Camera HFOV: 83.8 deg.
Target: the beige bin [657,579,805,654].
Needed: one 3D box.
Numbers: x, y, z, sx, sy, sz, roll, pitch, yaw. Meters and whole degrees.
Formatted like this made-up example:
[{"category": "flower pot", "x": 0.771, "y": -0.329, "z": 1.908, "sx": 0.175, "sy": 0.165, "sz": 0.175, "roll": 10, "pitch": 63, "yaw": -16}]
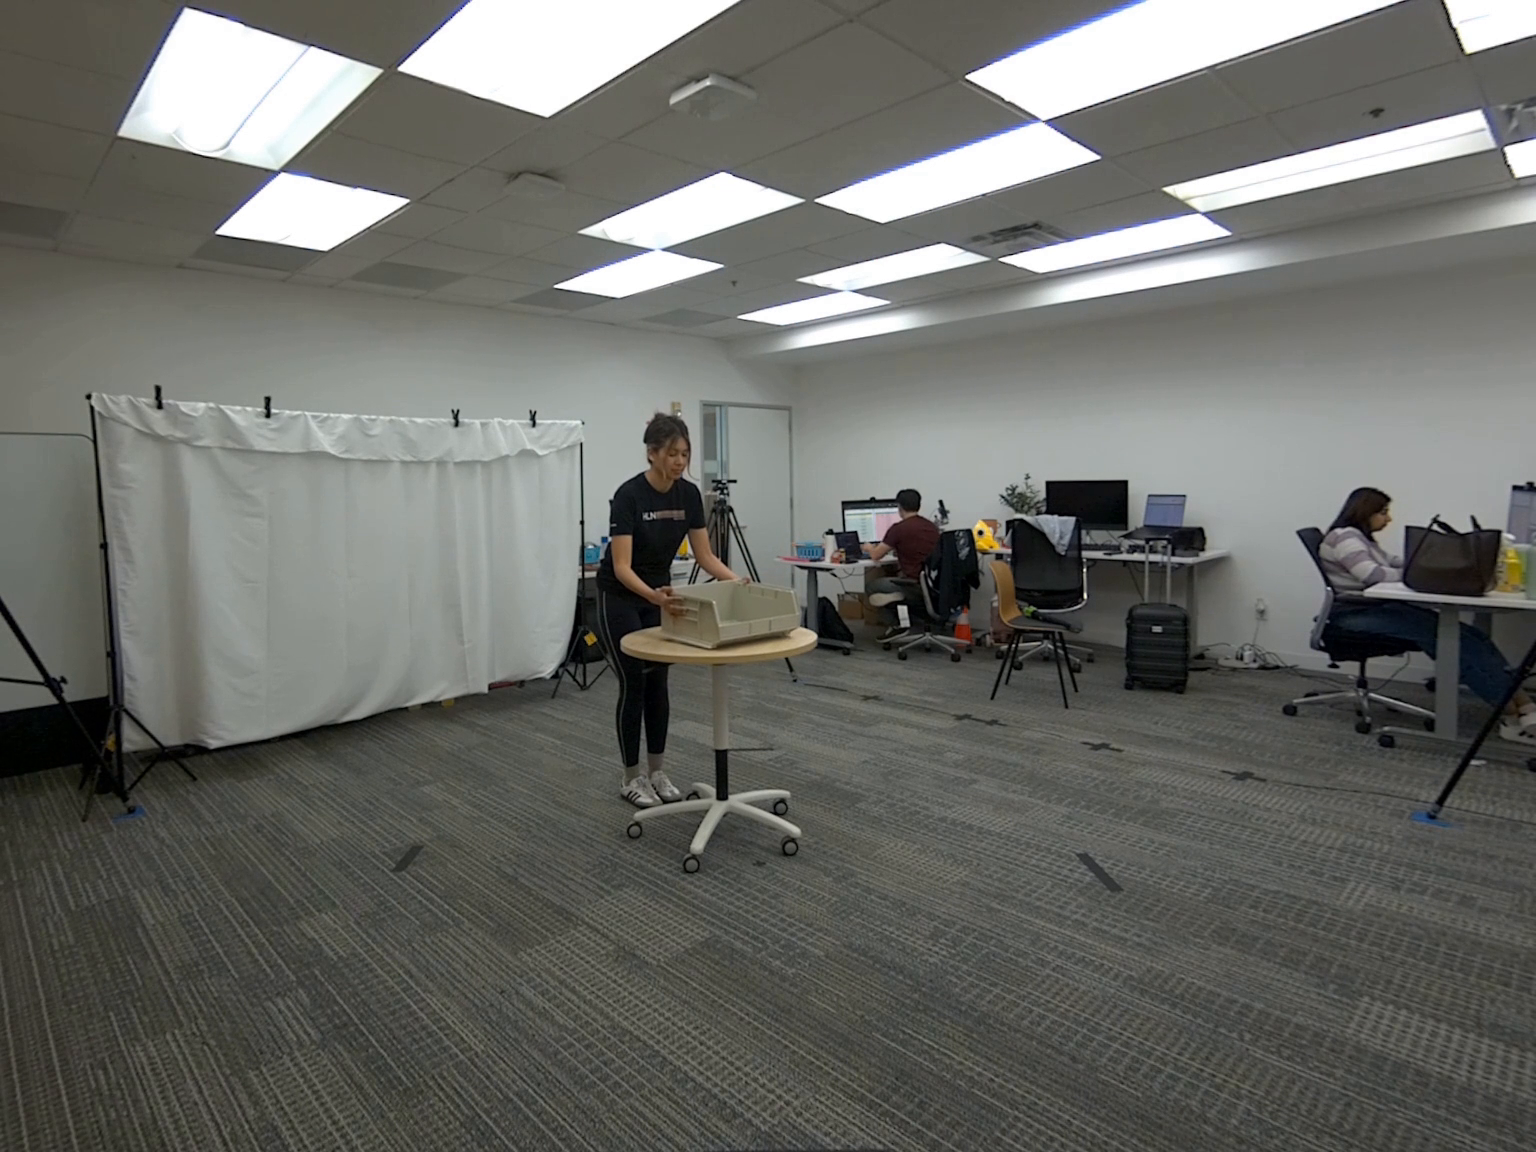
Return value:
[{"category": "beige bin", "x": -0.145, "y": 0.142, "z": 3.285, "sx": 0.411, "sy": 0.188, "sz": 0.389, "roll": -7, "pitch": 9, "yaw": -42}]
